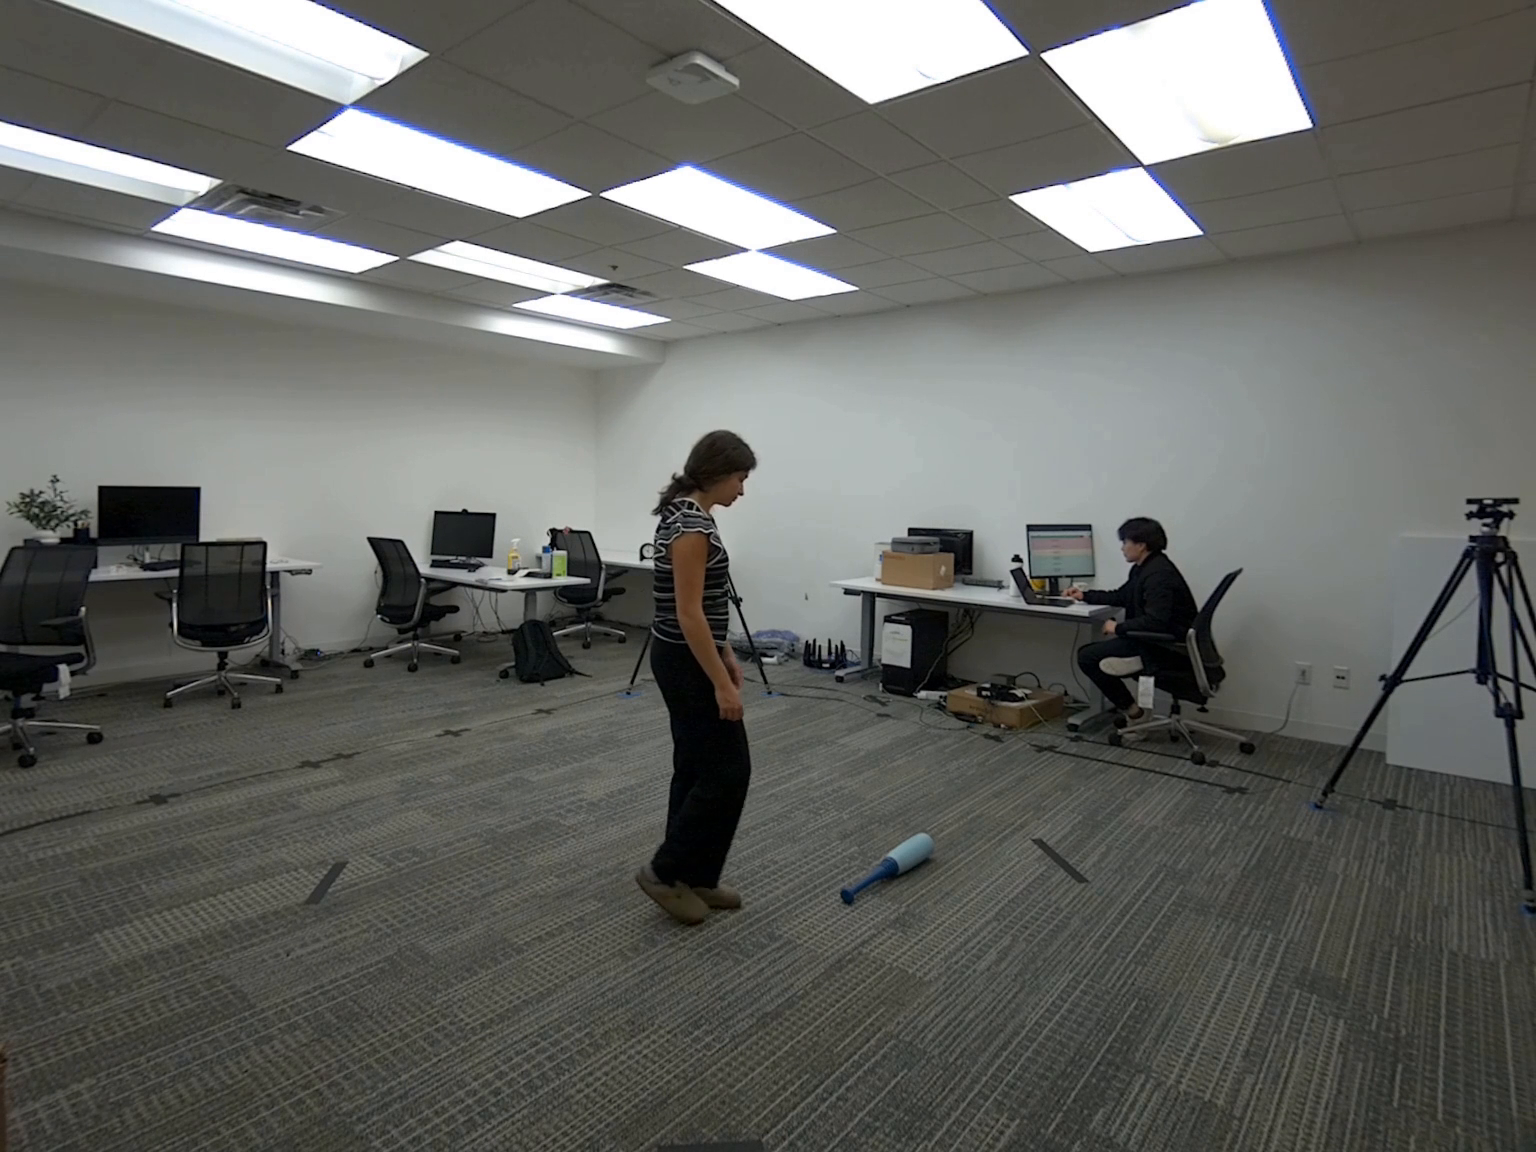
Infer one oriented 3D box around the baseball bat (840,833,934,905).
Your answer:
[{"bbox_3d":[0.430,1.051,3.060,0.092,0.088,0.528,4,10,41],"label":"baseball bat"}]
